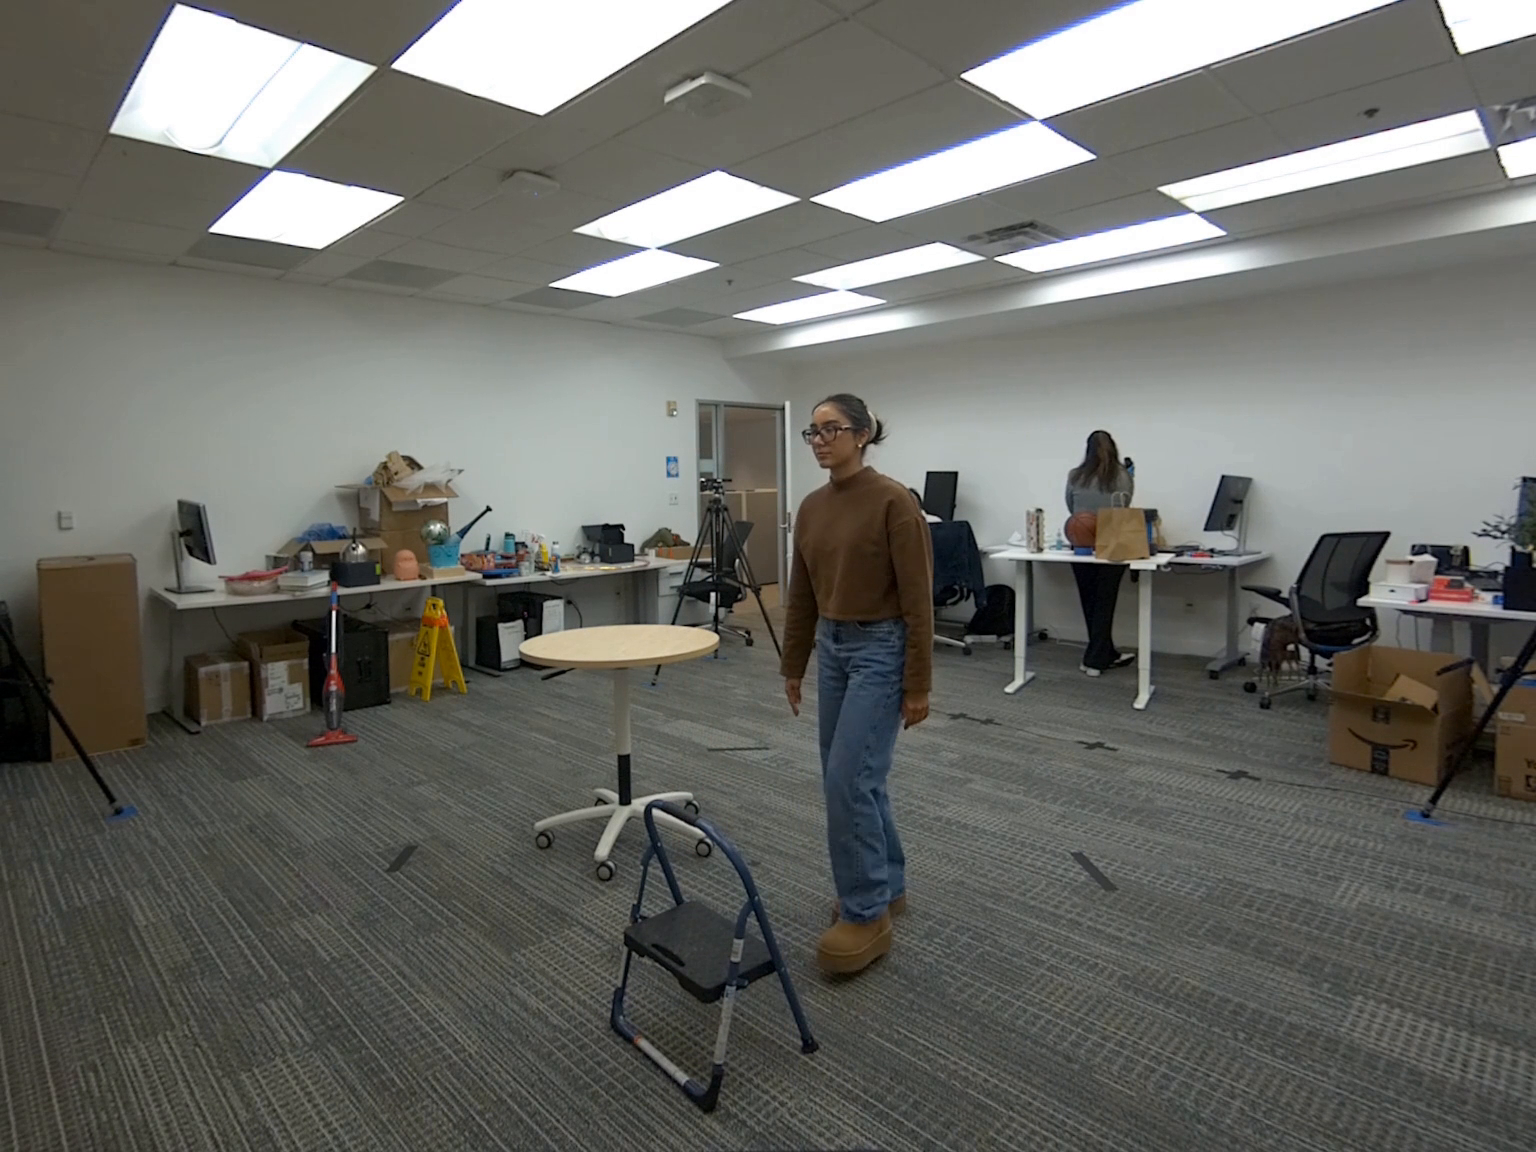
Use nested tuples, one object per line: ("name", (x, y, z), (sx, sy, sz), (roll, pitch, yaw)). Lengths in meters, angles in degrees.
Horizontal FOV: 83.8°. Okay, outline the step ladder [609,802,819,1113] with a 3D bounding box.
("step ladder", (-0.147, 0.865, 2.127), (0.340, 0.604, 0.444), (-5, 6, -42))
